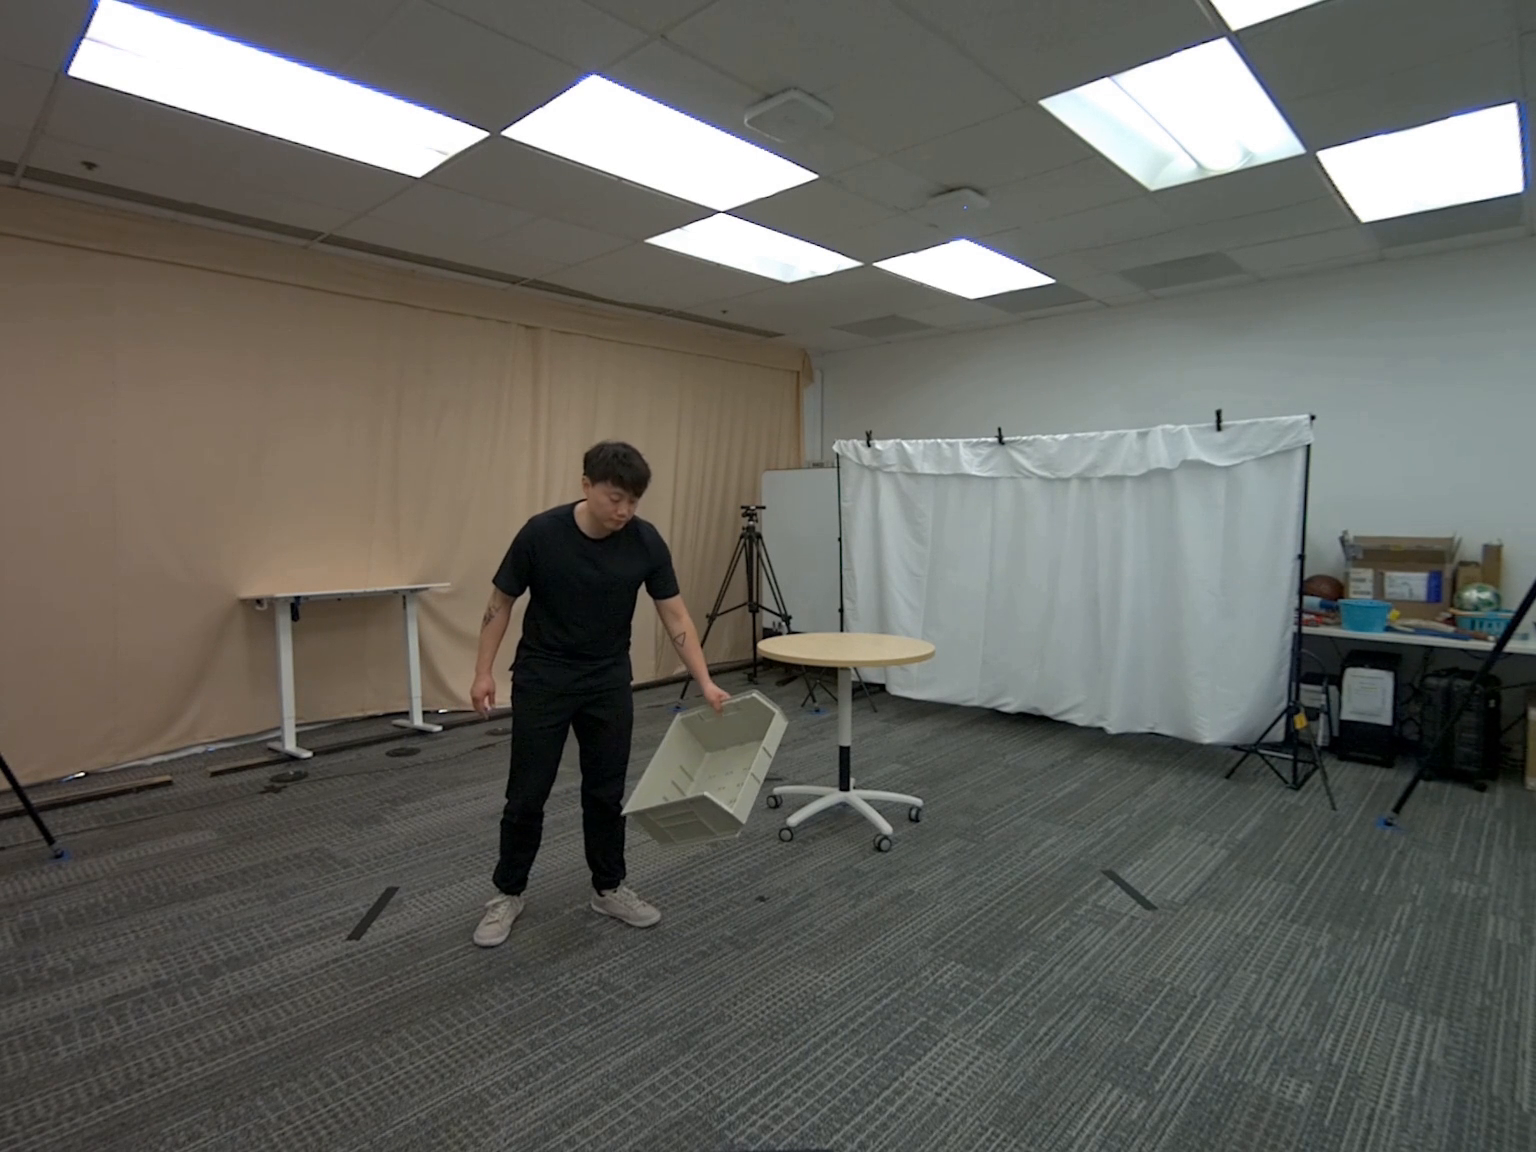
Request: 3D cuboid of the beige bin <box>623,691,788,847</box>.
[{"bbox_3d":[-0.168,0.591,2.545,0.385,0.185,0.422,-25,22,35],"label":"beige bin"}]
